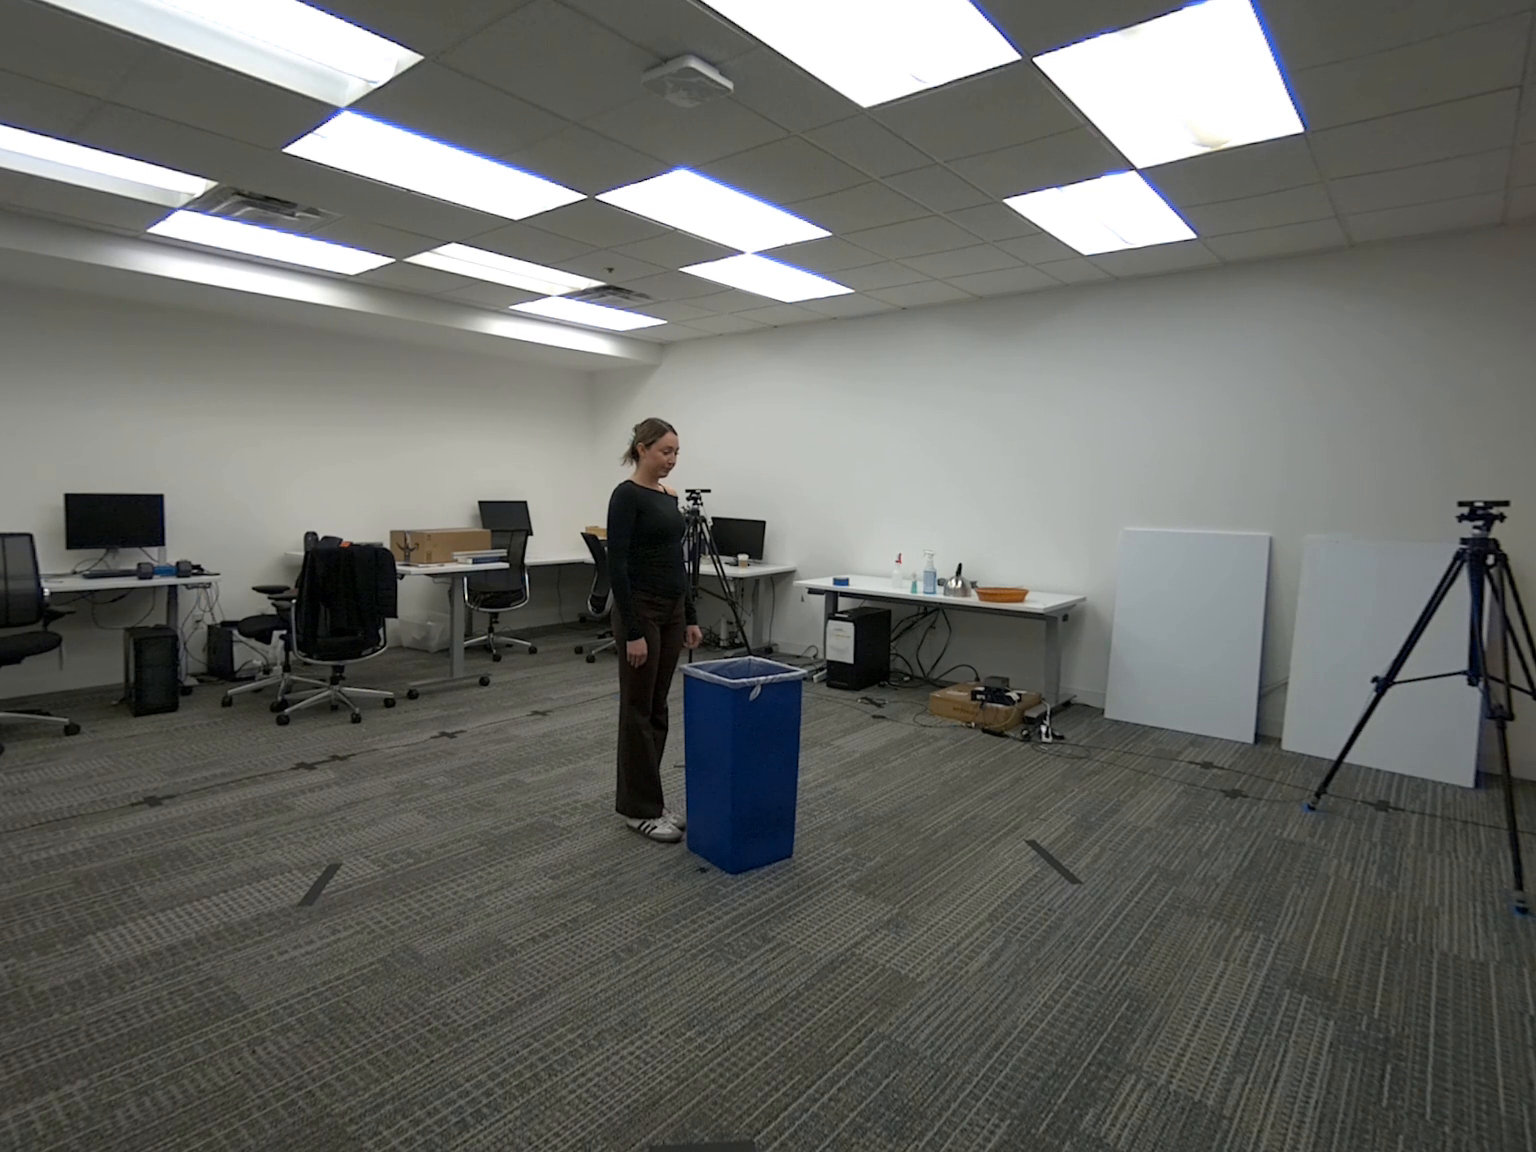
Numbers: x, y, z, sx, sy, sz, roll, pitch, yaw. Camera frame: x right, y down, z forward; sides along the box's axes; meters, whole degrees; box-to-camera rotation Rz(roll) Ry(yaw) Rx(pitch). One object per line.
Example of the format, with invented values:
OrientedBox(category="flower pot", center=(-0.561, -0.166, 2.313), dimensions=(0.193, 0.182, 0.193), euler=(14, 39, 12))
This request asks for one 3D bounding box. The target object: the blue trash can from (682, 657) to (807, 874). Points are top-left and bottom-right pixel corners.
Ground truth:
OrientedBox(category="blue trash can", center=(-0.118, 0.704, 3.262), dimensions=(0.367, 0.712, 0.386), euler=(-1, 4, -38))
